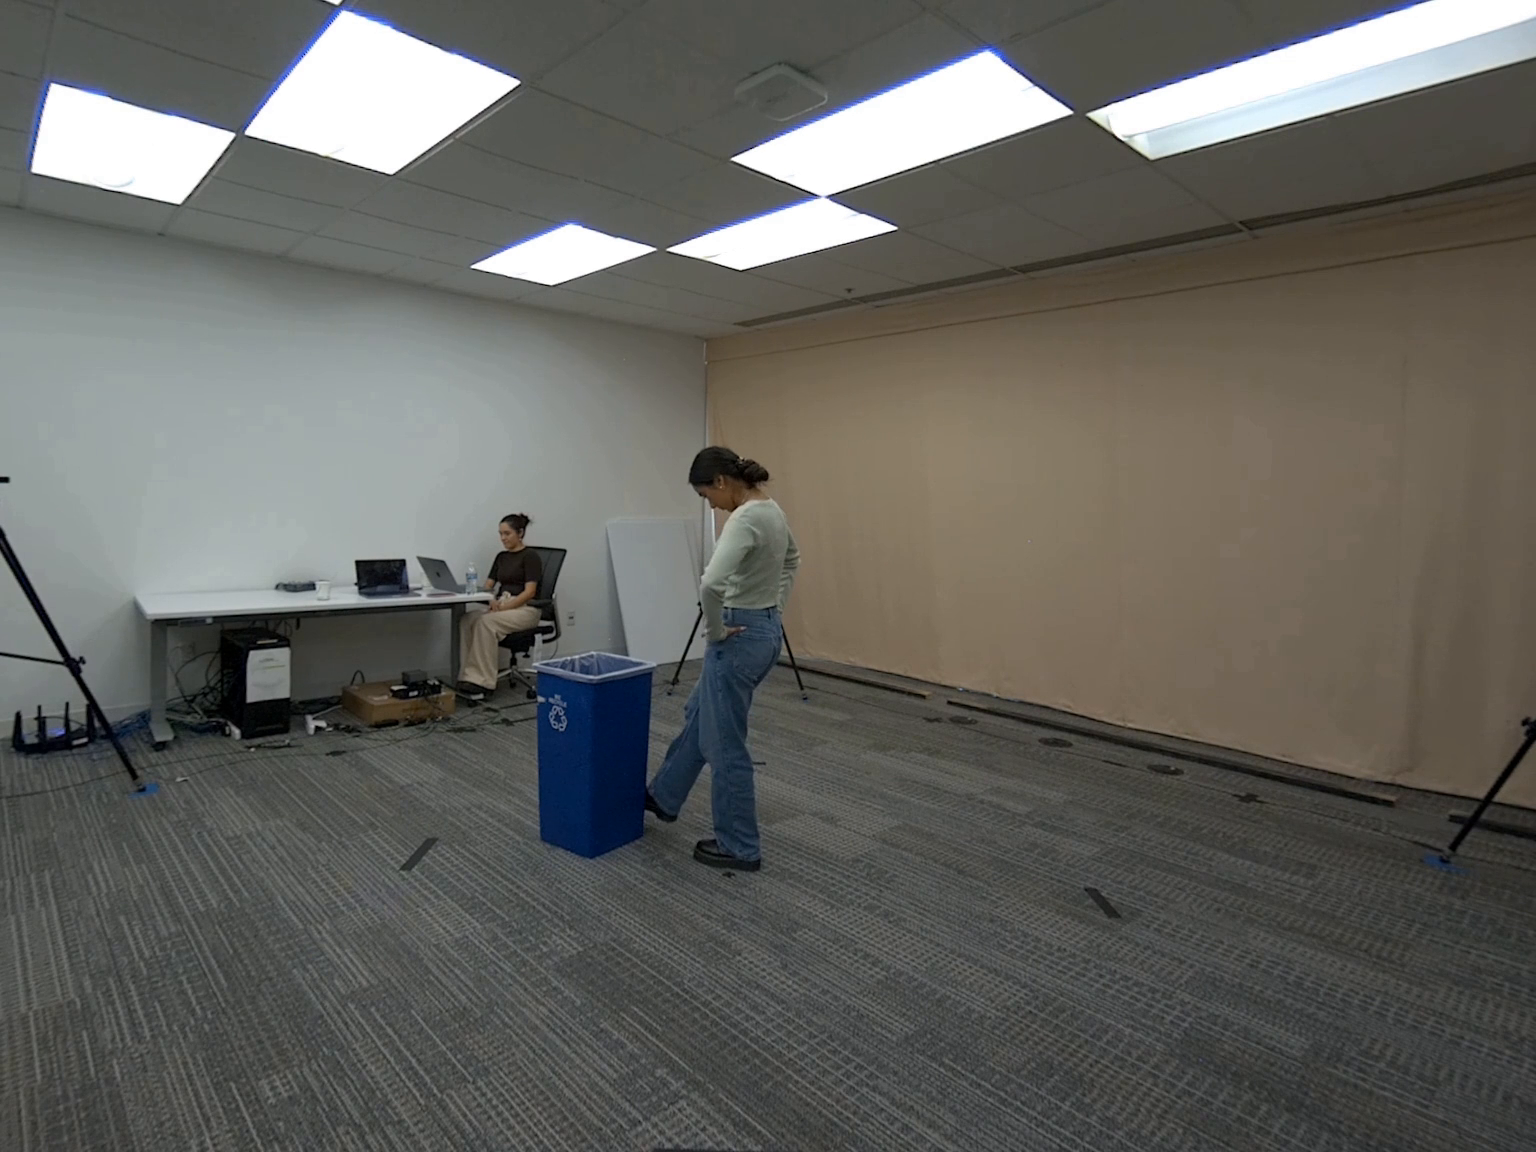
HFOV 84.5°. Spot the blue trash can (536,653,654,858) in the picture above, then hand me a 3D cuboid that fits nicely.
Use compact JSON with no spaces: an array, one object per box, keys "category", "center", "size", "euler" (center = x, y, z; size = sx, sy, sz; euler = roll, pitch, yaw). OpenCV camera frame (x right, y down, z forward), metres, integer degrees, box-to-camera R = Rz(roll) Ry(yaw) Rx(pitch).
[{"category":"blue trash can","center":[-0.716,0.708,3.388],"size":[0.387,0.712,0.366],"euler":[5,5,37]}]
